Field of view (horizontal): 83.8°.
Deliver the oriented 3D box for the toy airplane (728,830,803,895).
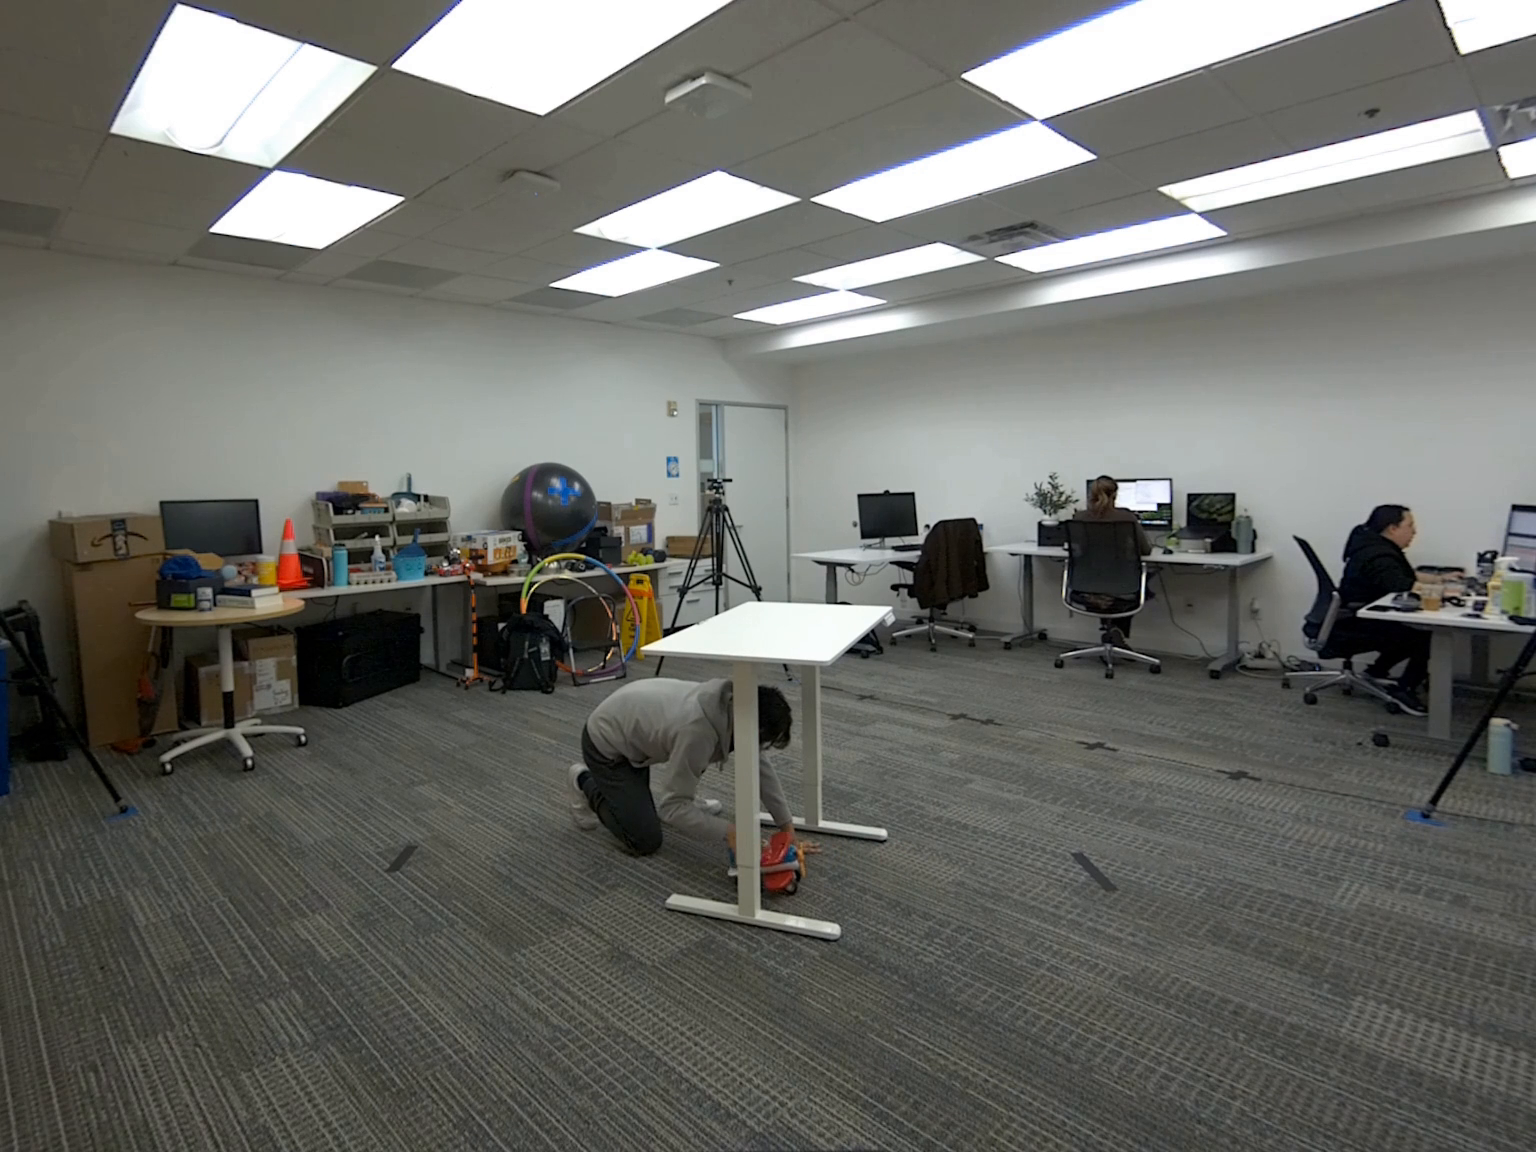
[{"bbox_3d":[-0.002,0.999,2.906,0.255,0.156,0.256,-2,4,-18],"label":"toy airplane"}]
